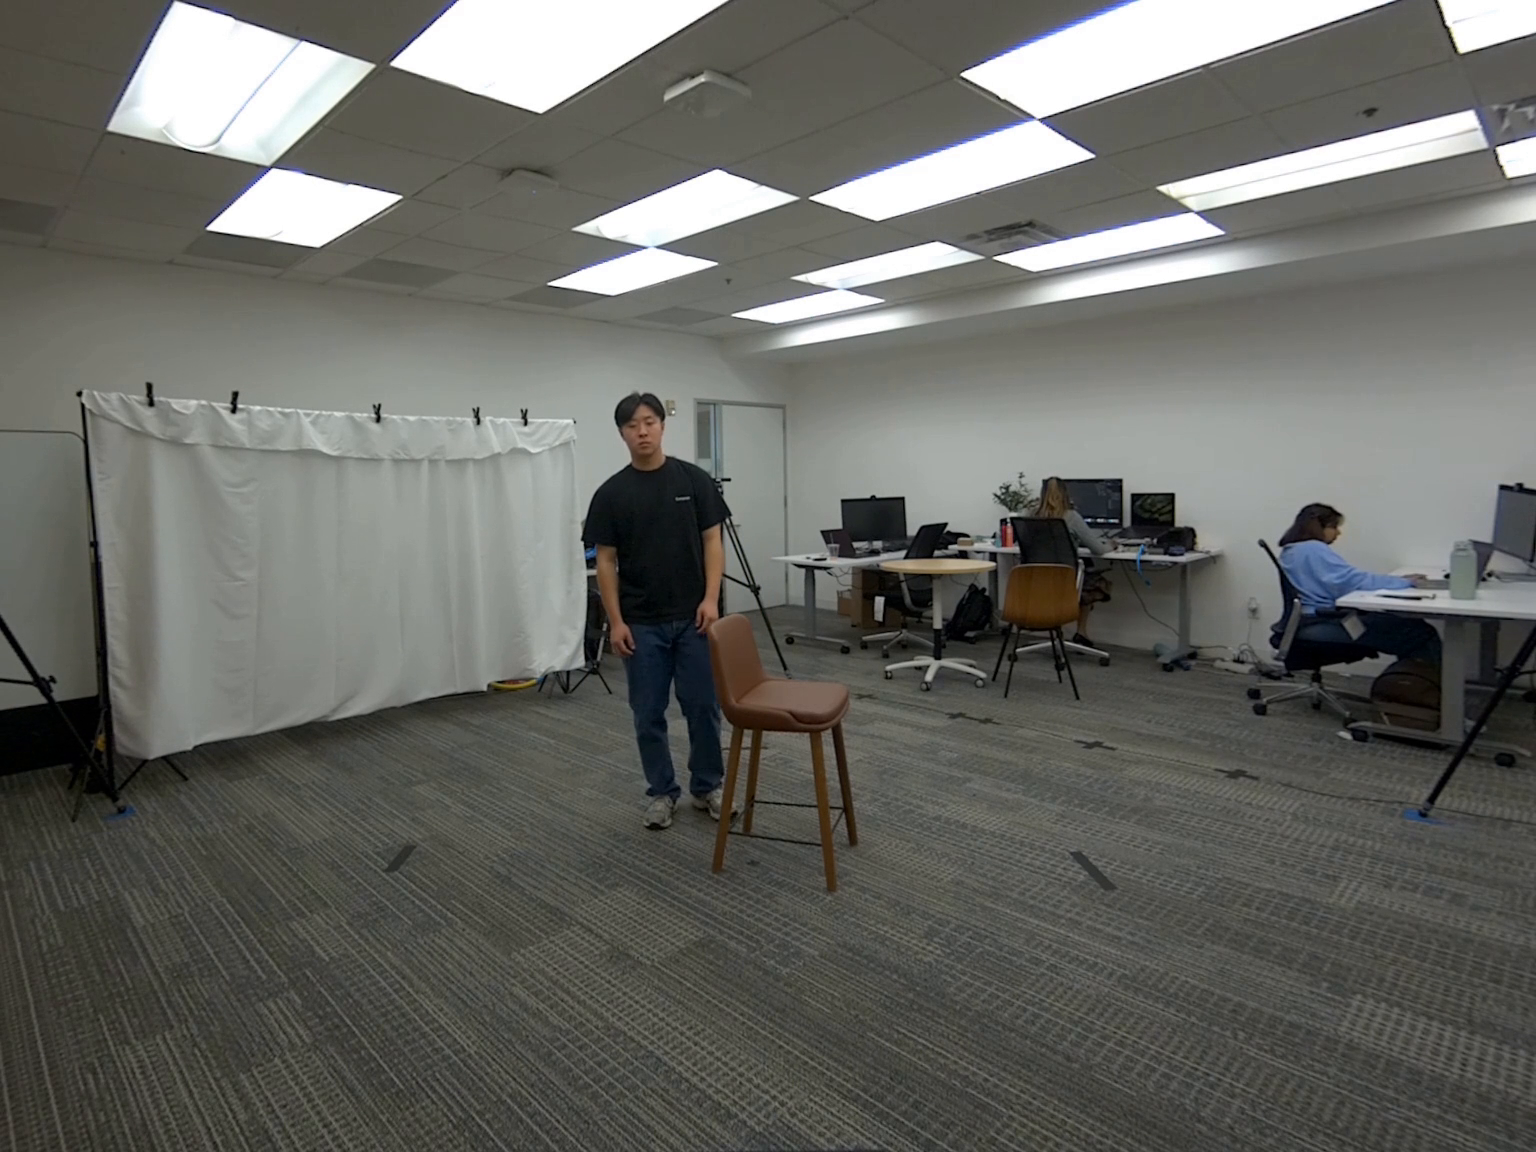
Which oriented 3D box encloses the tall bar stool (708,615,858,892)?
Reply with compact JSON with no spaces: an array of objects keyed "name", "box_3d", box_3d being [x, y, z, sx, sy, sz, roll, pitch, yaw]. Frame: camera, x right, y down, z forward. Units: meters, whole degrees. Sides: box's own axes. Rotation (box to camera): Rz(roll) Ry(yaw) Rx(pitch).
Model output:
[{"name":"tall bar stool","box_3d":[0.059,0.604,3.117,0.476,0.887,0.449,-1,3,20]}]
